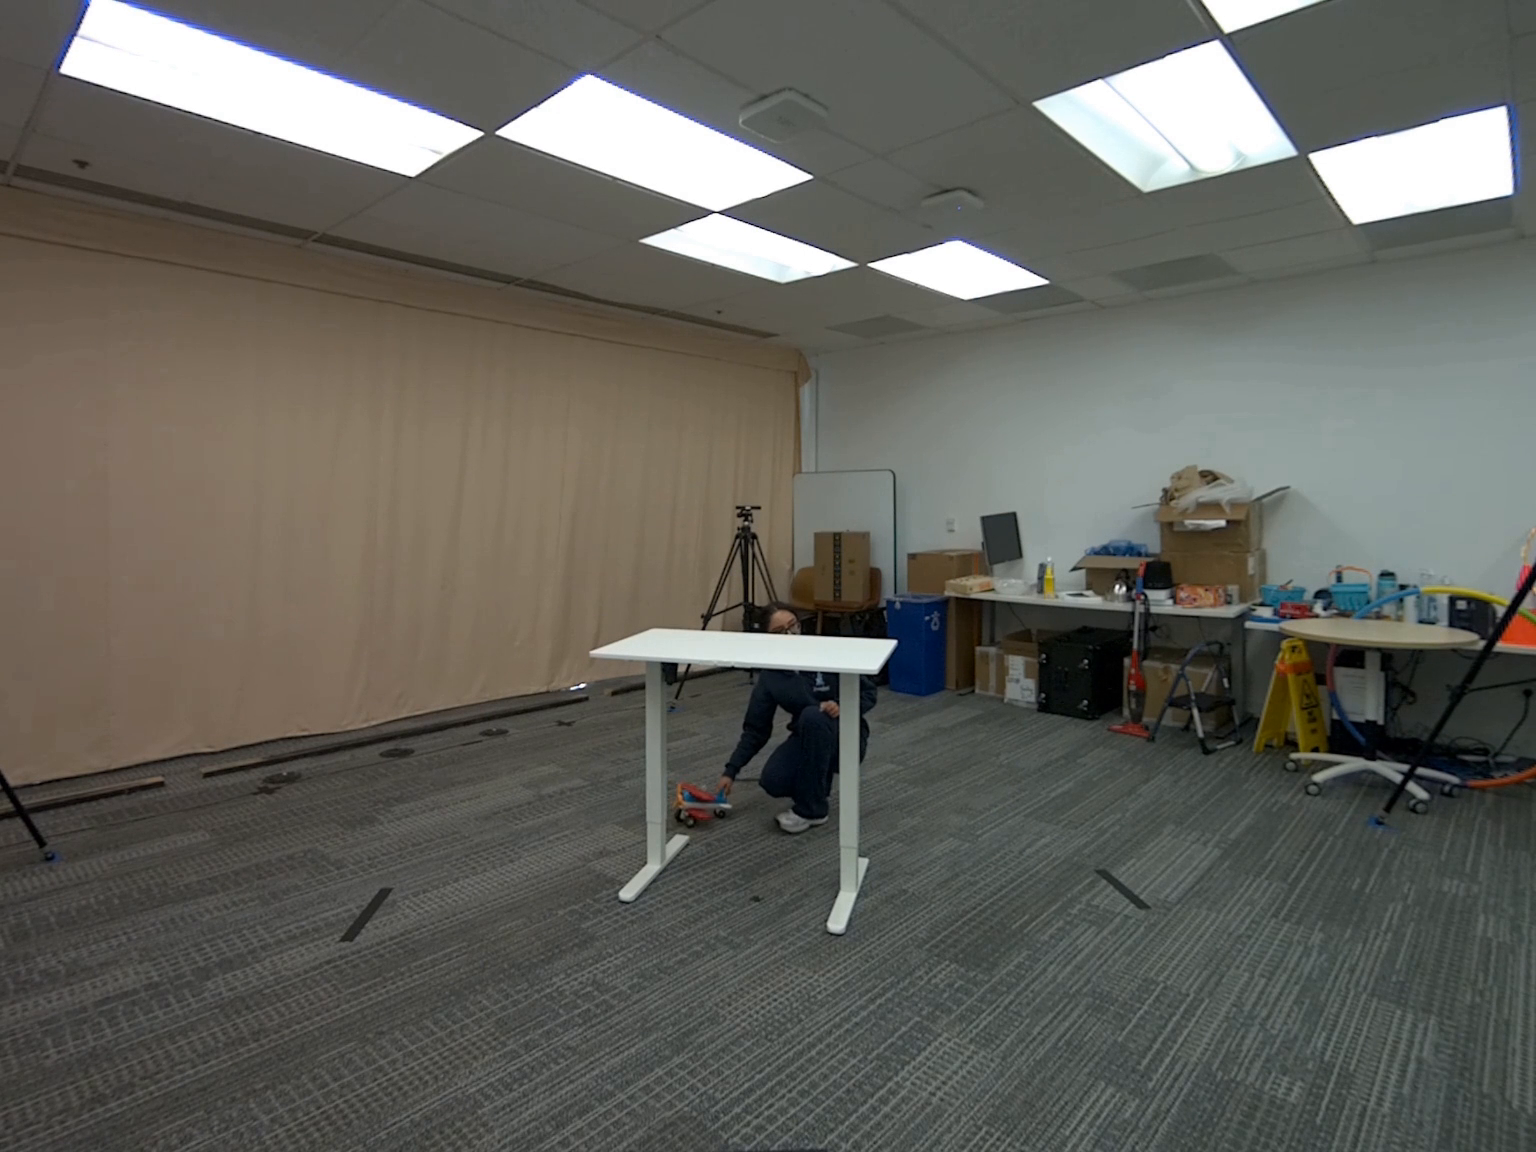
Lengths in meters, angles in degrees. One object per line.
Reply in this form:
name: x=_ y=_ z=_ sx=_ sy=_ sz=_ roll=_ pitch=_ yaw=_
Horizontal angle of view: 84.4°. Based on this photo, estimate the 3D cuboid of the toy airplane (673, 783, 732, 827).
toy airplane: x=-0.276 y=1.012 z=3.747 sx=0.258 sy=0.156 sz=0.252 roll=0 pitch=4 yaw=31
